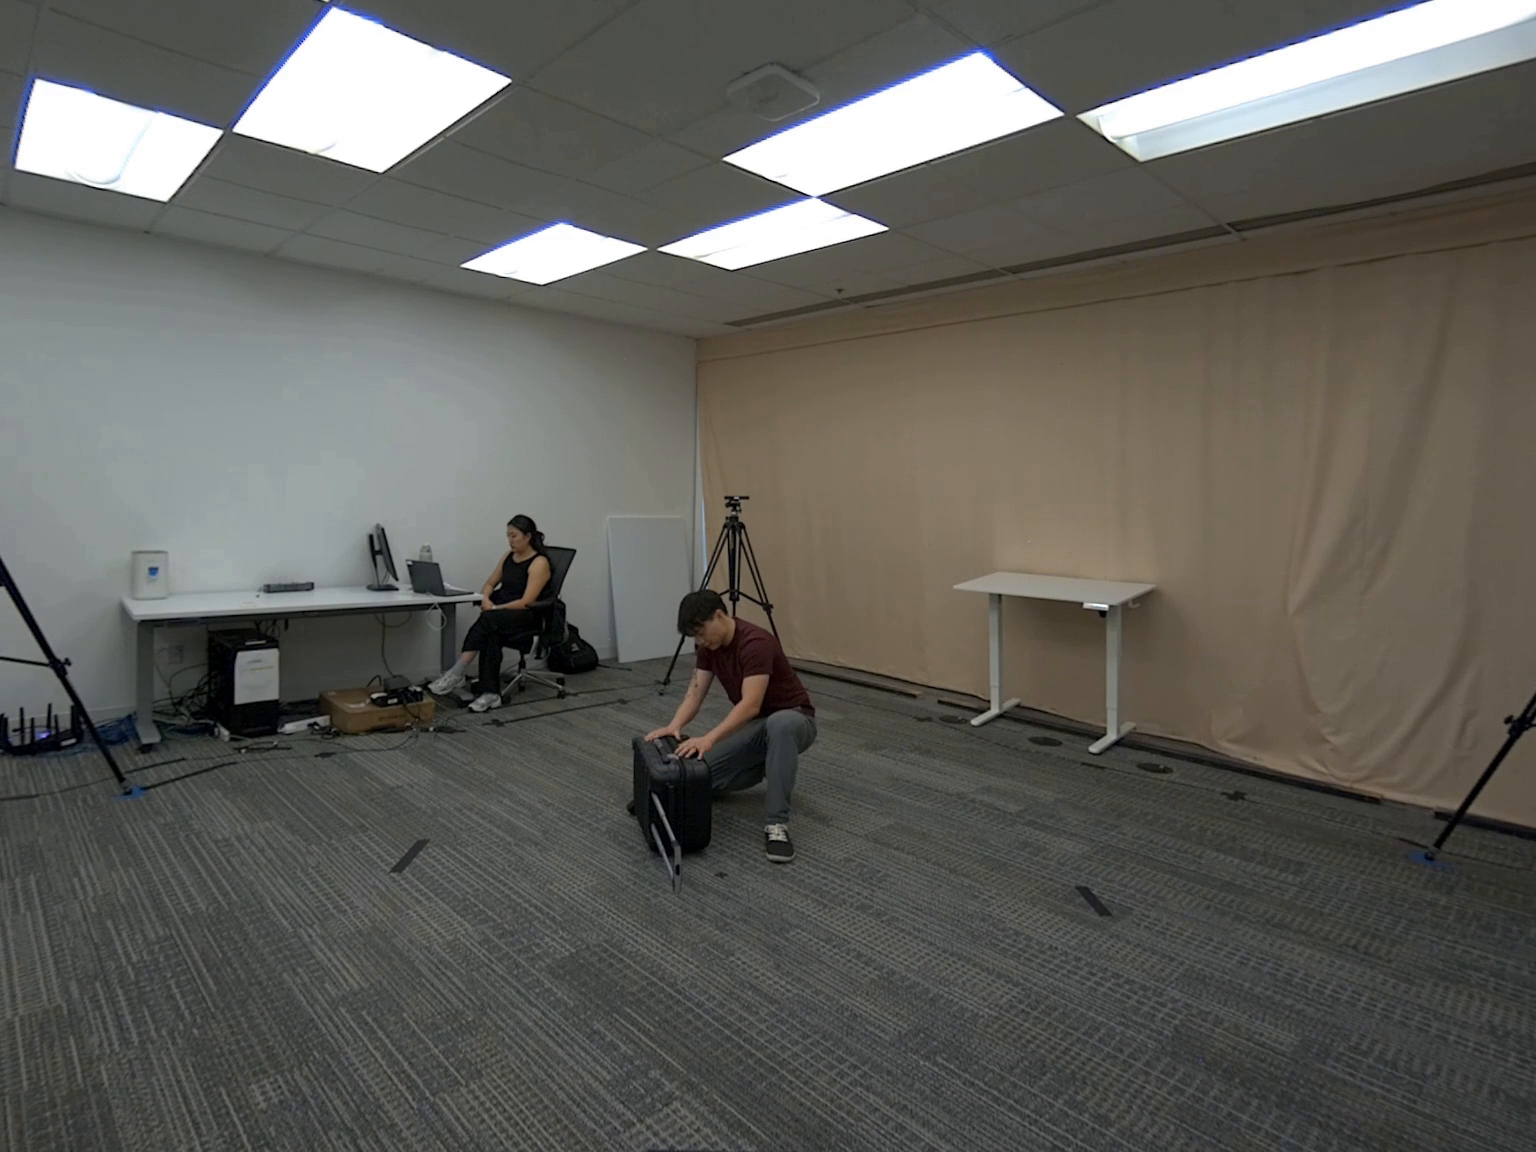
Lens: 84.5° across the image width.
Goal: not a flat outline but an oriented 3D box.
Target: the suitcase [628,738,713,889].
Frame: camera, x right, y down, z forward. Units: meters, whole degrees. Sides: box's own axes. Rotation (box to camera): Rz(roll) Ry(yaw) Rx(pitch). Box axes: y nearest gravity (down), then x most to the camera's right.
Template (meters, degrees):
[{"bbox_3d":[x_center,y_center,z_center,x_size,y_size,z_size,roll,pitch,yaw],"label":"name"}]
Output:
[{"bbox_3d":[-0.339,0.894,3.245,0.253,0.383,0.995,1,4,-19],"label":"suitcase"}]
